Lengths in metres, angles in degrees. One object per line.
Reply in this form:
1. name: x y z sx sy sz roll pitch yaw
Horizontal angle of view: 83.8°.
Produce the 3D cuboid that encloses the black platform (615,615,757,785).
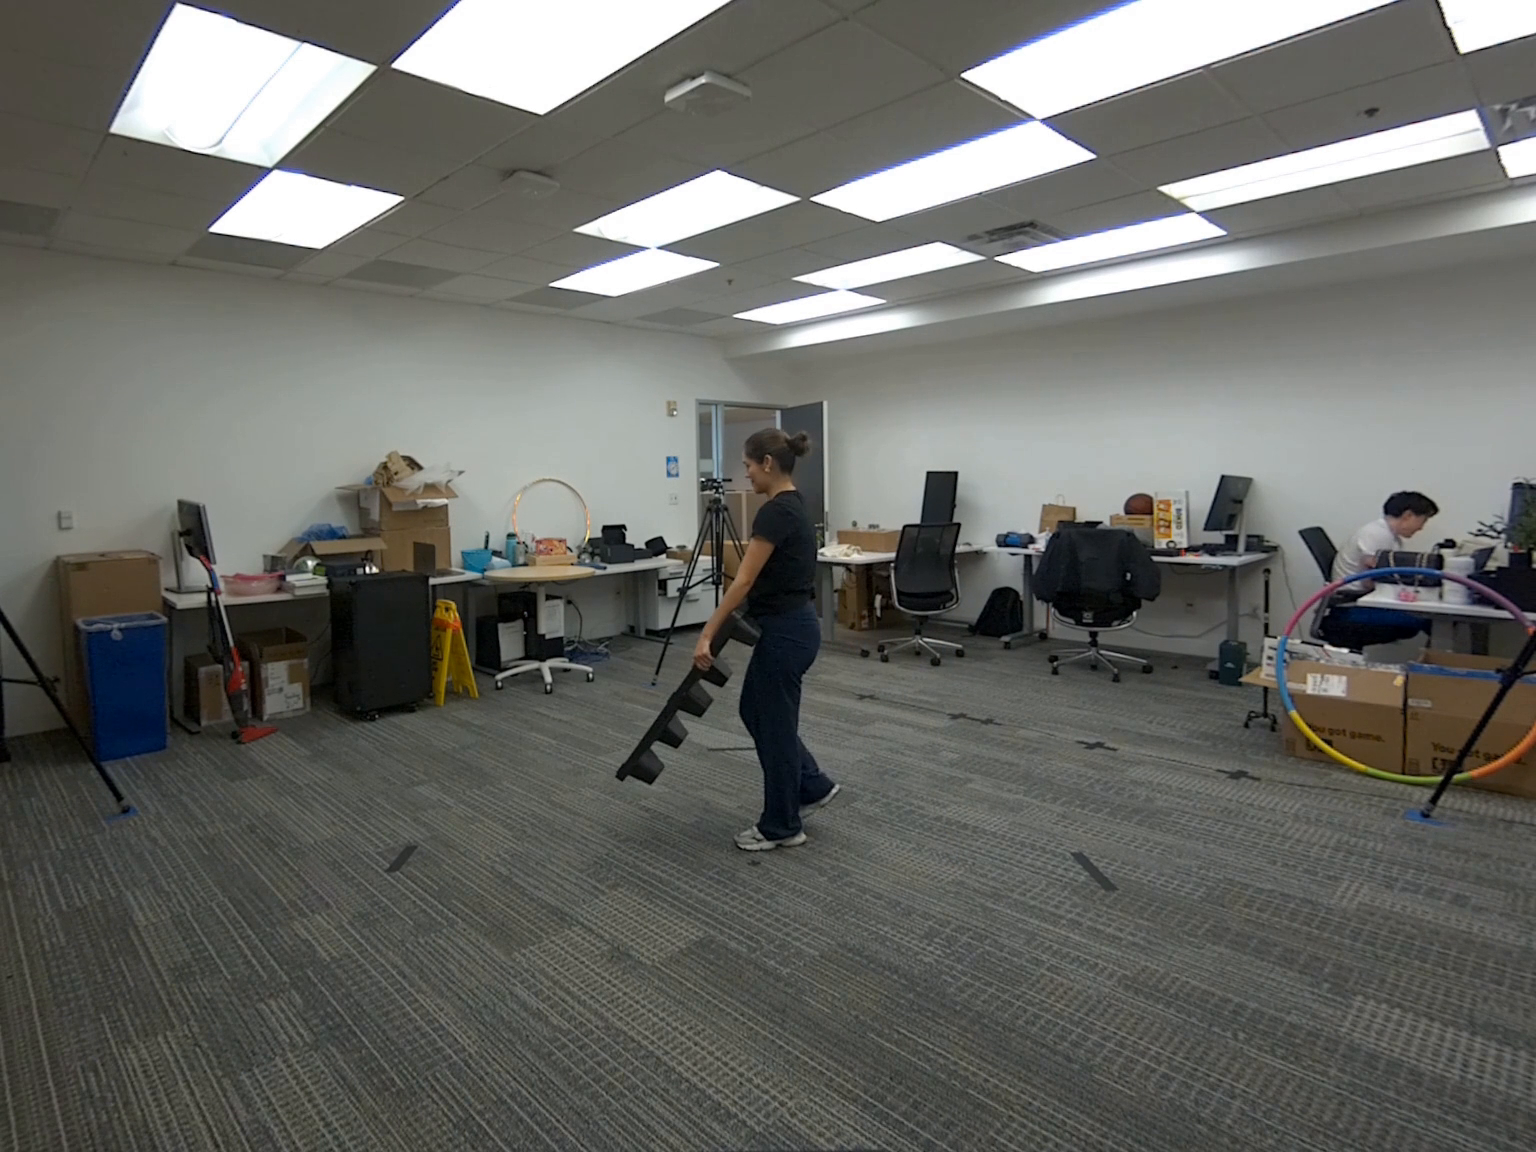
1. black platform: -0.254 0.425 3.401 0.144 0.803 0.604 34 13 1
